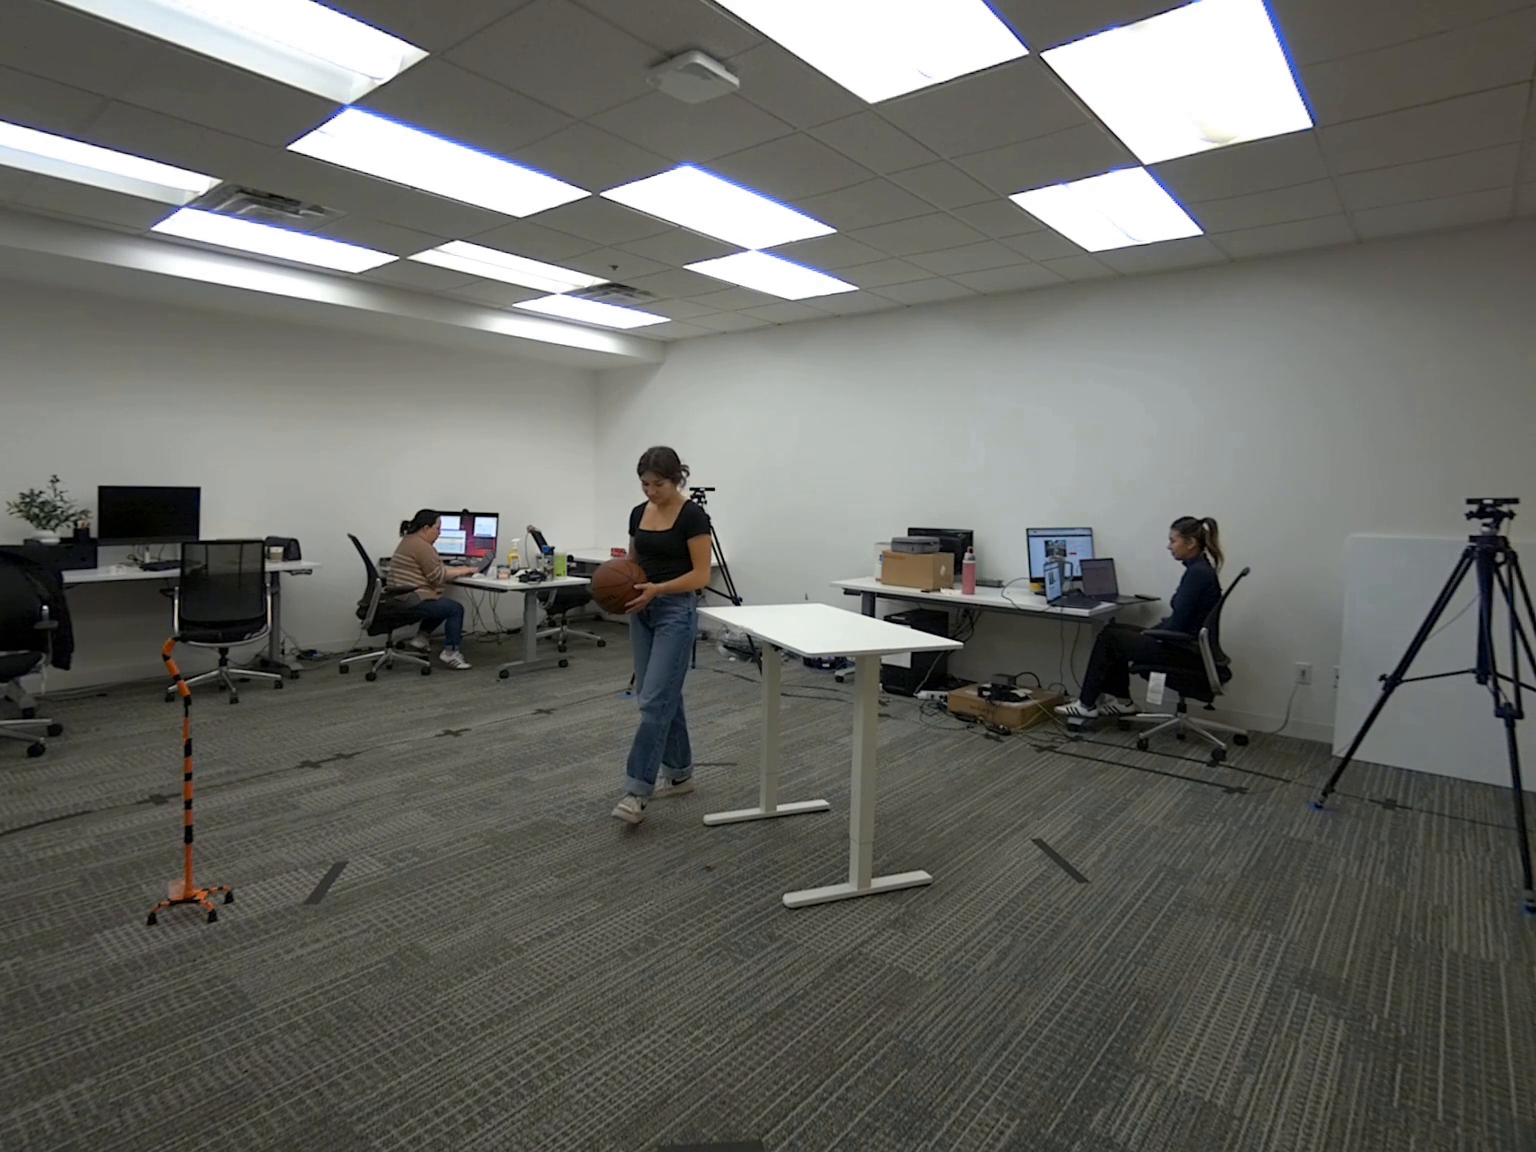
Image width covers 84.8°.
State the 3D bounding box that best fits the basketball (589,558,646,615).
[{"bbox_3d":[-0.643,0.033,3.577,0.235,0.235,0.237,1,4,-2],"label":"basketball"}]
